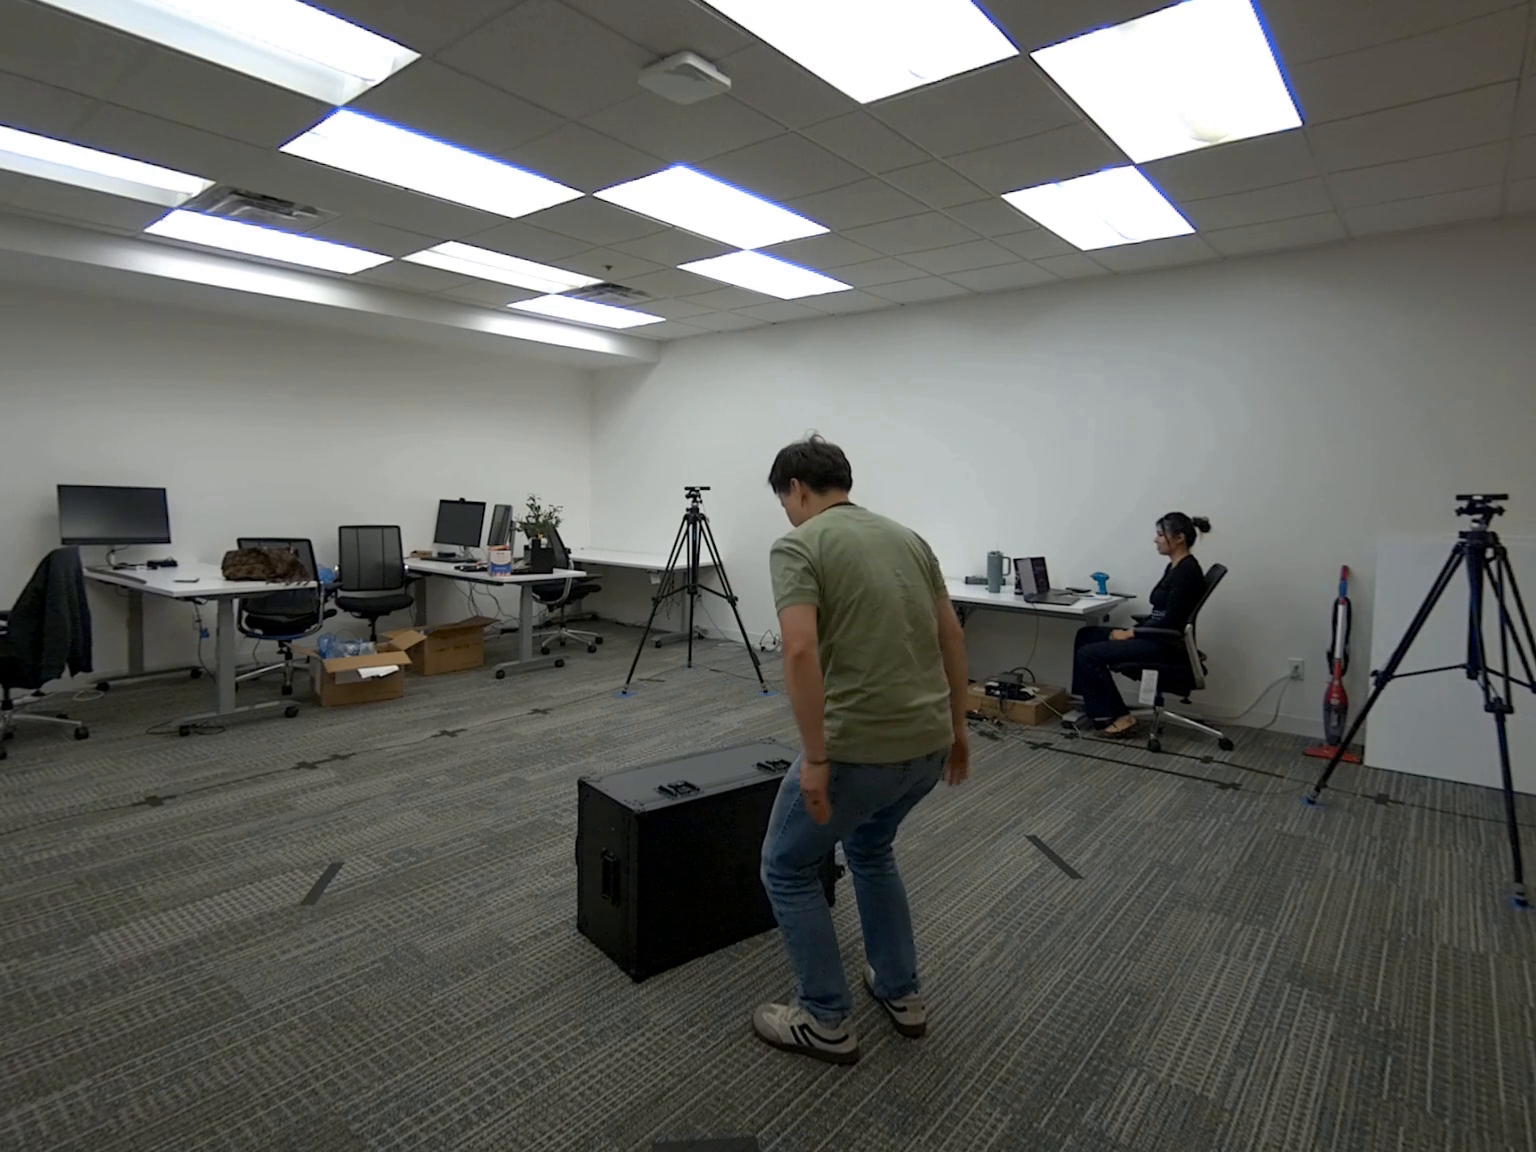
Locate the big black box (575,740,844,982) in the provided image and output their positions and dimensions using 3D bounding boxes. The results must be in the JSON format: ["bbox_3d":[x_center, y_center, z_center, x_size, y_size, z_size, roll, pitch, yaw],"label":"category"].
[{"bbox_3d":[-0.175,0.858,2.766,0.836,0.520,0.409,-2,5,-38],"label":"big black box"}]
